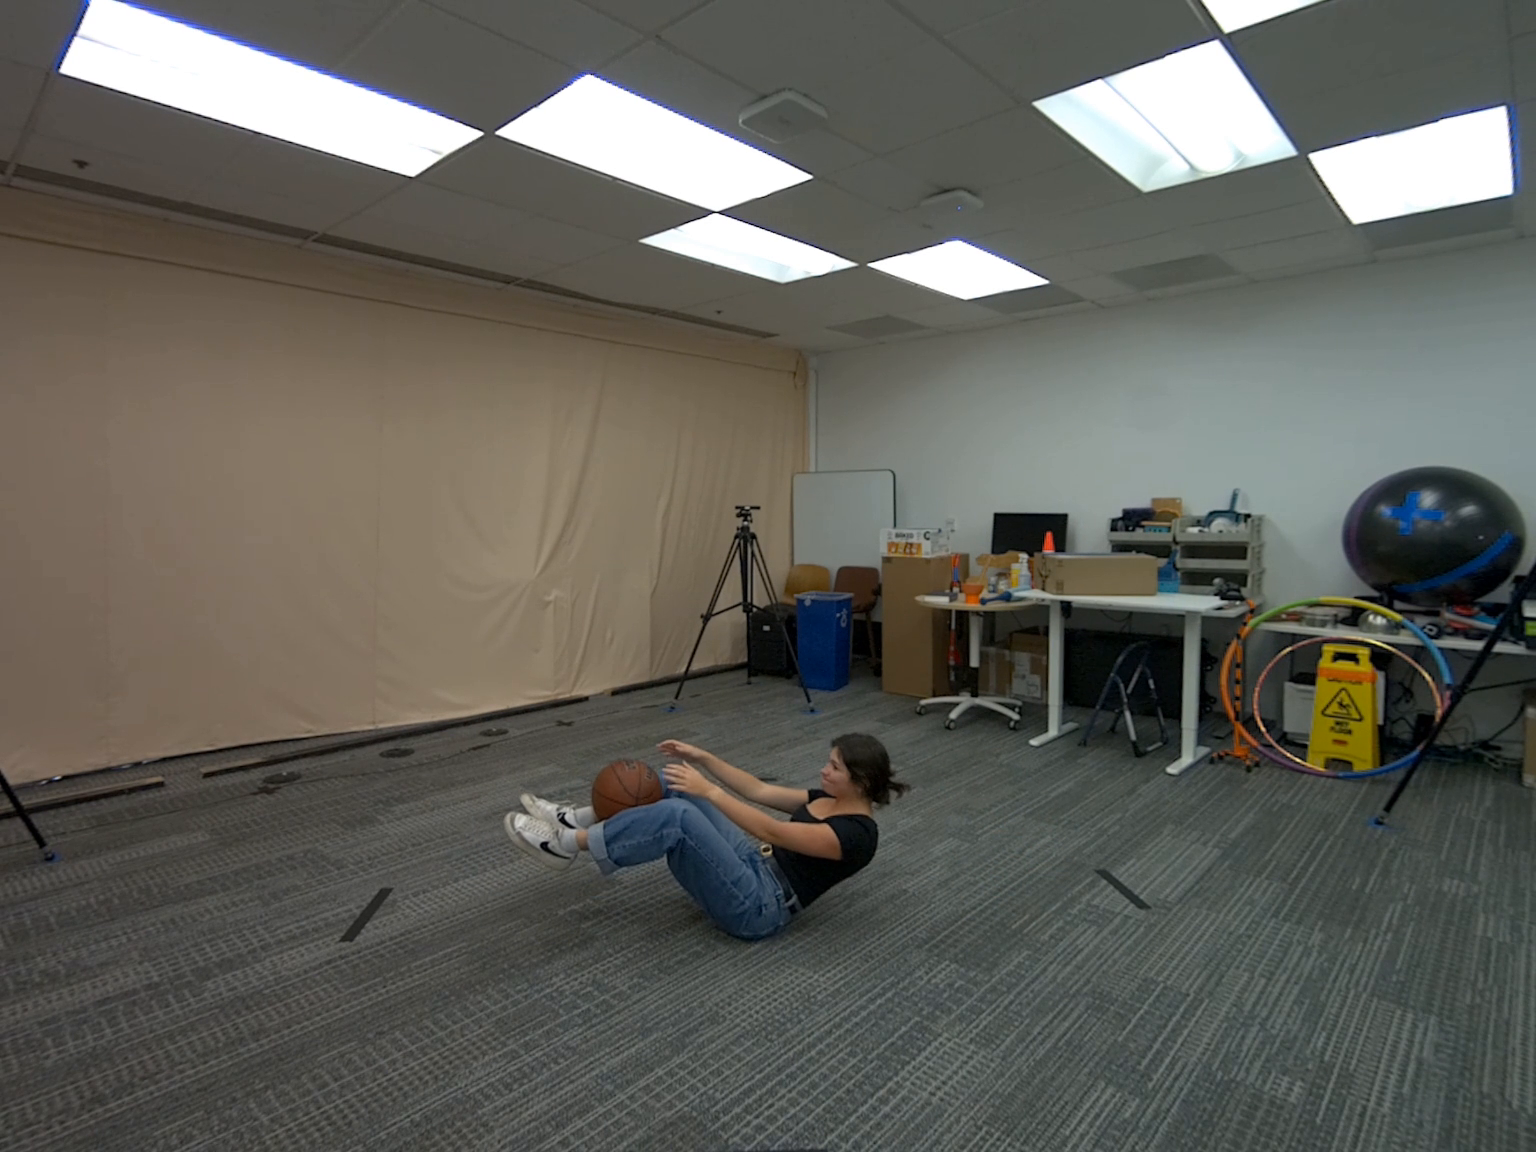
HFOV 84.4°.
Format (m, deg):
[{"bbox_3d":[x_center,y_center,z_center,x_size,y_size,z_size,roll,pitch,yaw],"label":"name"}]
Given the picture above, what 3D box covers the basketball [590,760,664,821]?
[{"bbox_3d":[-0.462,0.727,2.808,0.236,0.235,0.237,0,4,-2],"label":"basketball"}]
